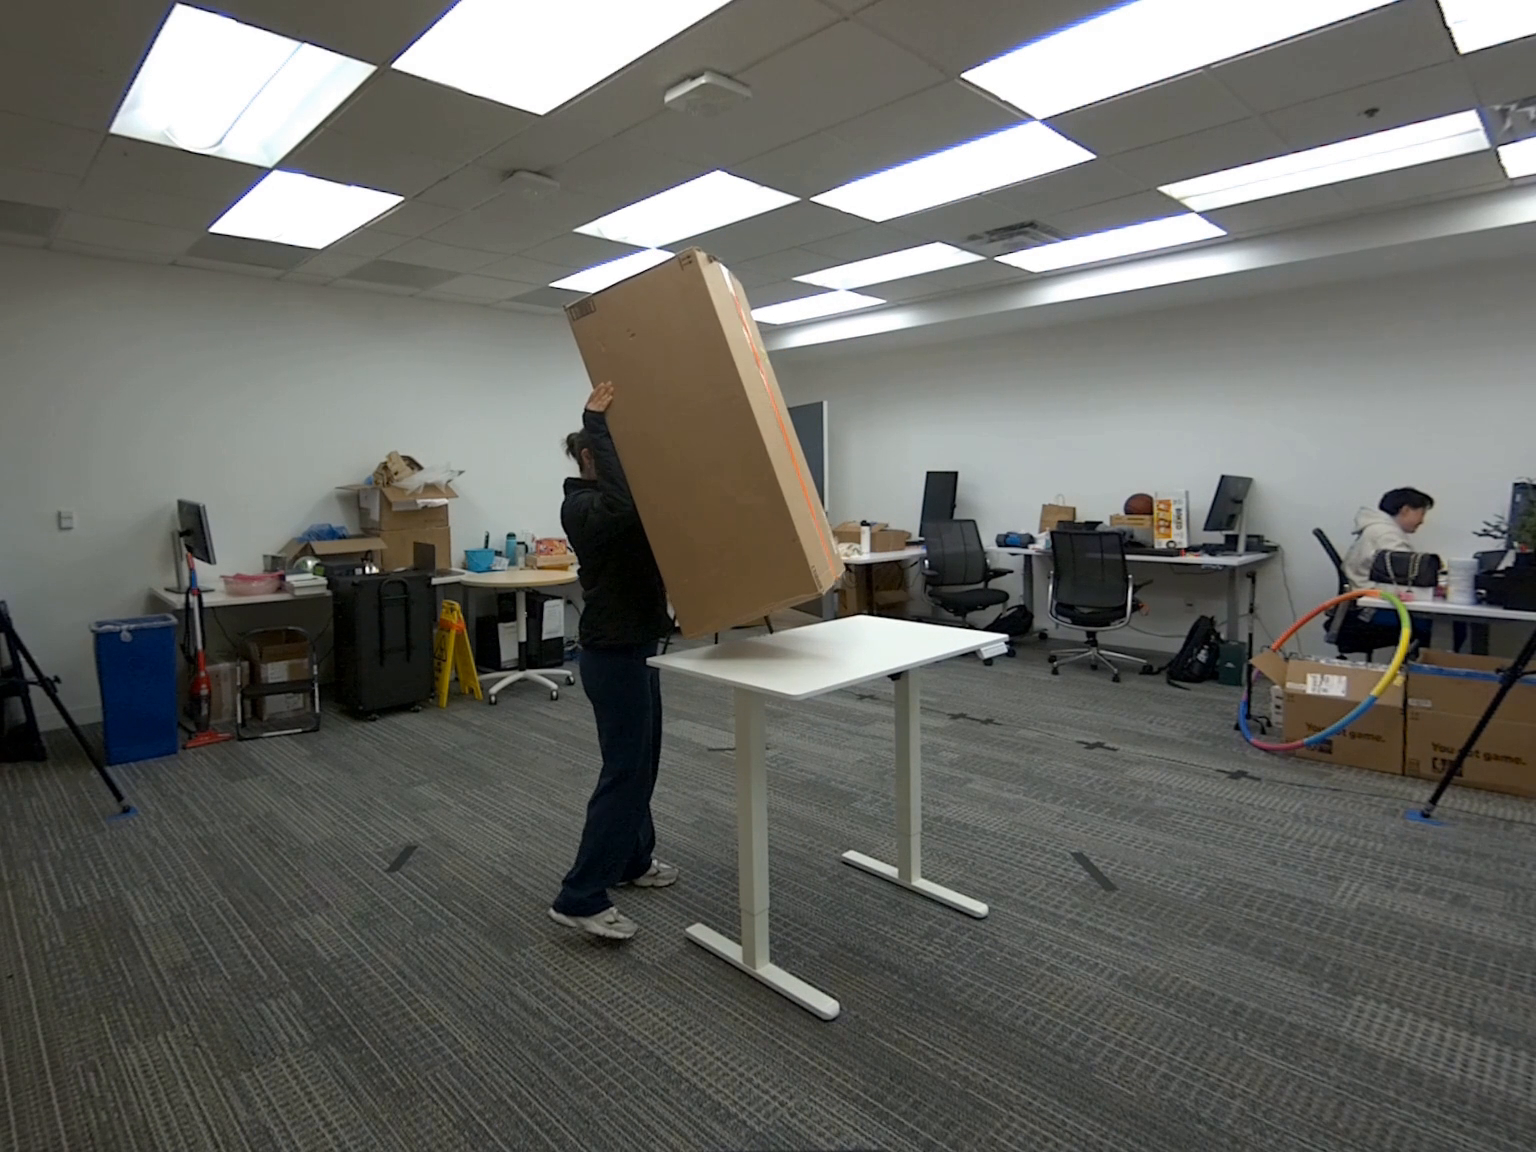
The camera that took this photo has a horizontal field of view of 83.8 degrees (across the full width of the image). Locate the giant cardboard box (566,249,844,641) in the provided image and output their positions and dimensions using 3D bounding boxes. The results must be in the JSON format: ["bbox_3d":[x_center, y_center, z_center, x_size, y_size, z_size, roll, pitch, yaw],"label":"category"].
[{"bbox_3d":[-0.161,-0.395,2.662,0.451,1.027,0.578,-20,1,16],"label":"giant cardboard box"}]
